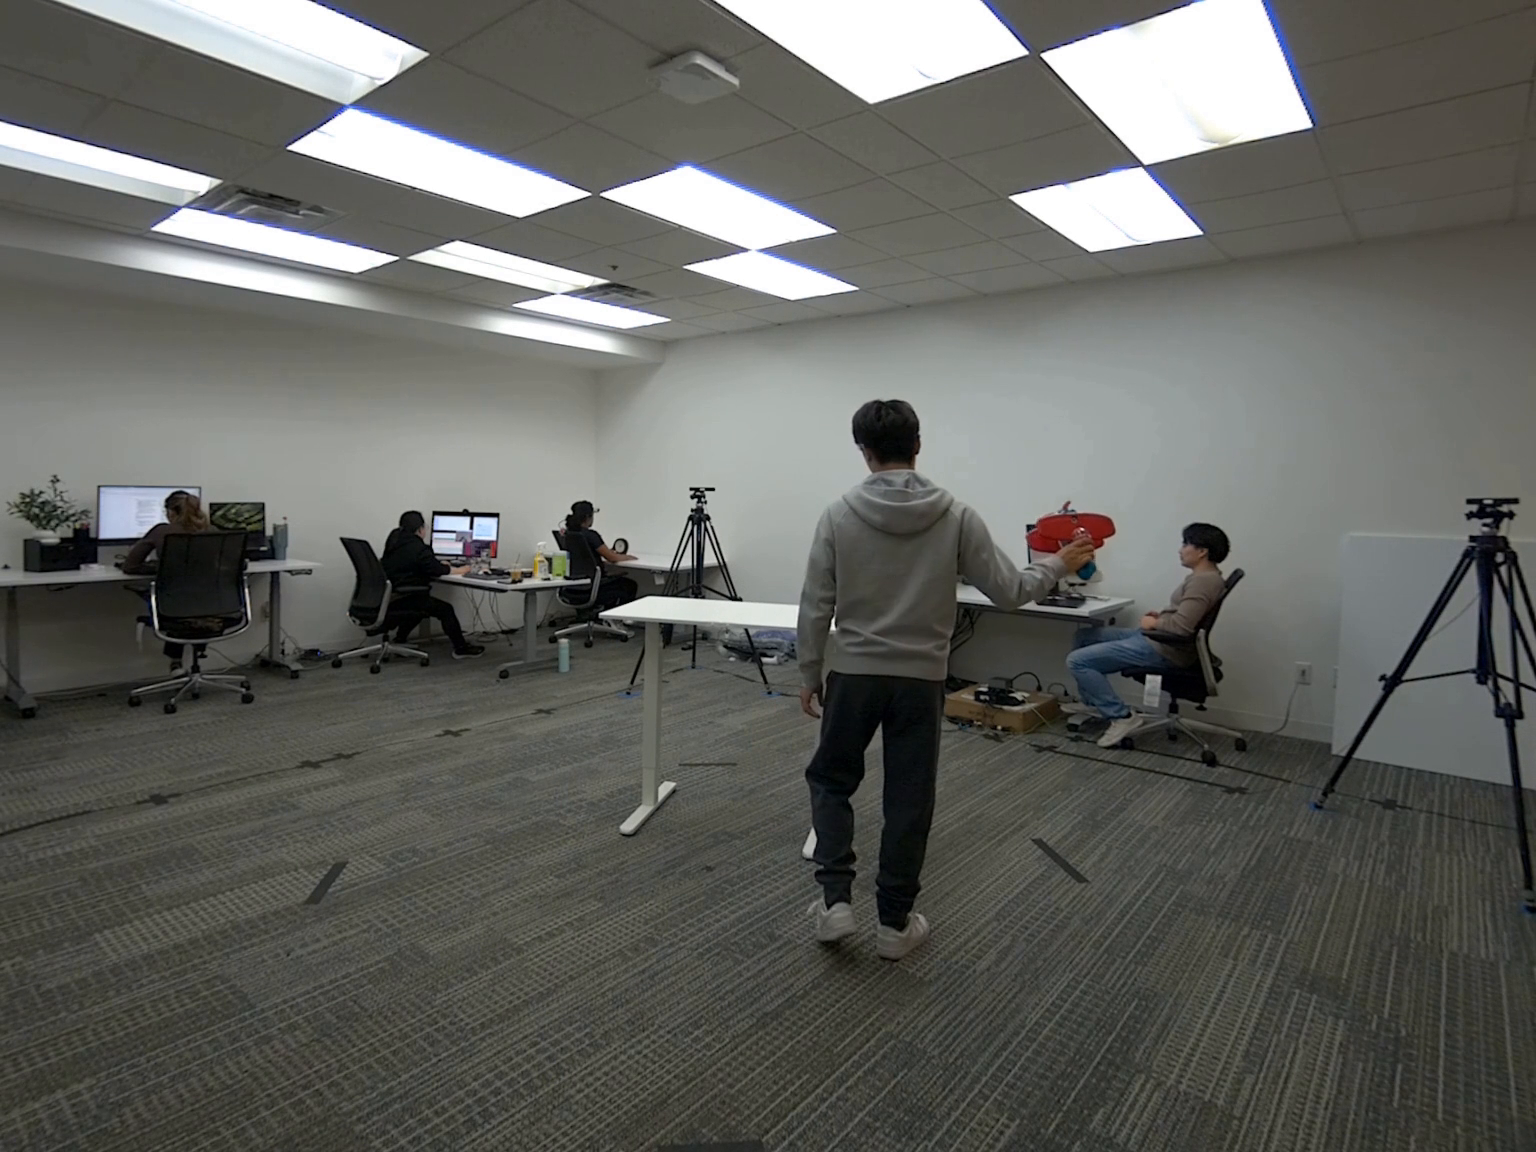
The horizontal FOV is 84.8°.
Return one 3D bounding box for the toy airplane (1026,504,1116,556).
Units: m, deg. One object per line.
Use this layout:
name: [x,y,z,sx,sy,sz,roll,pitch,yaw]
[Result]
toy airplane: [0.967,-0.102,2.690,0.248,0.152,0.270,-25,51,-26]
